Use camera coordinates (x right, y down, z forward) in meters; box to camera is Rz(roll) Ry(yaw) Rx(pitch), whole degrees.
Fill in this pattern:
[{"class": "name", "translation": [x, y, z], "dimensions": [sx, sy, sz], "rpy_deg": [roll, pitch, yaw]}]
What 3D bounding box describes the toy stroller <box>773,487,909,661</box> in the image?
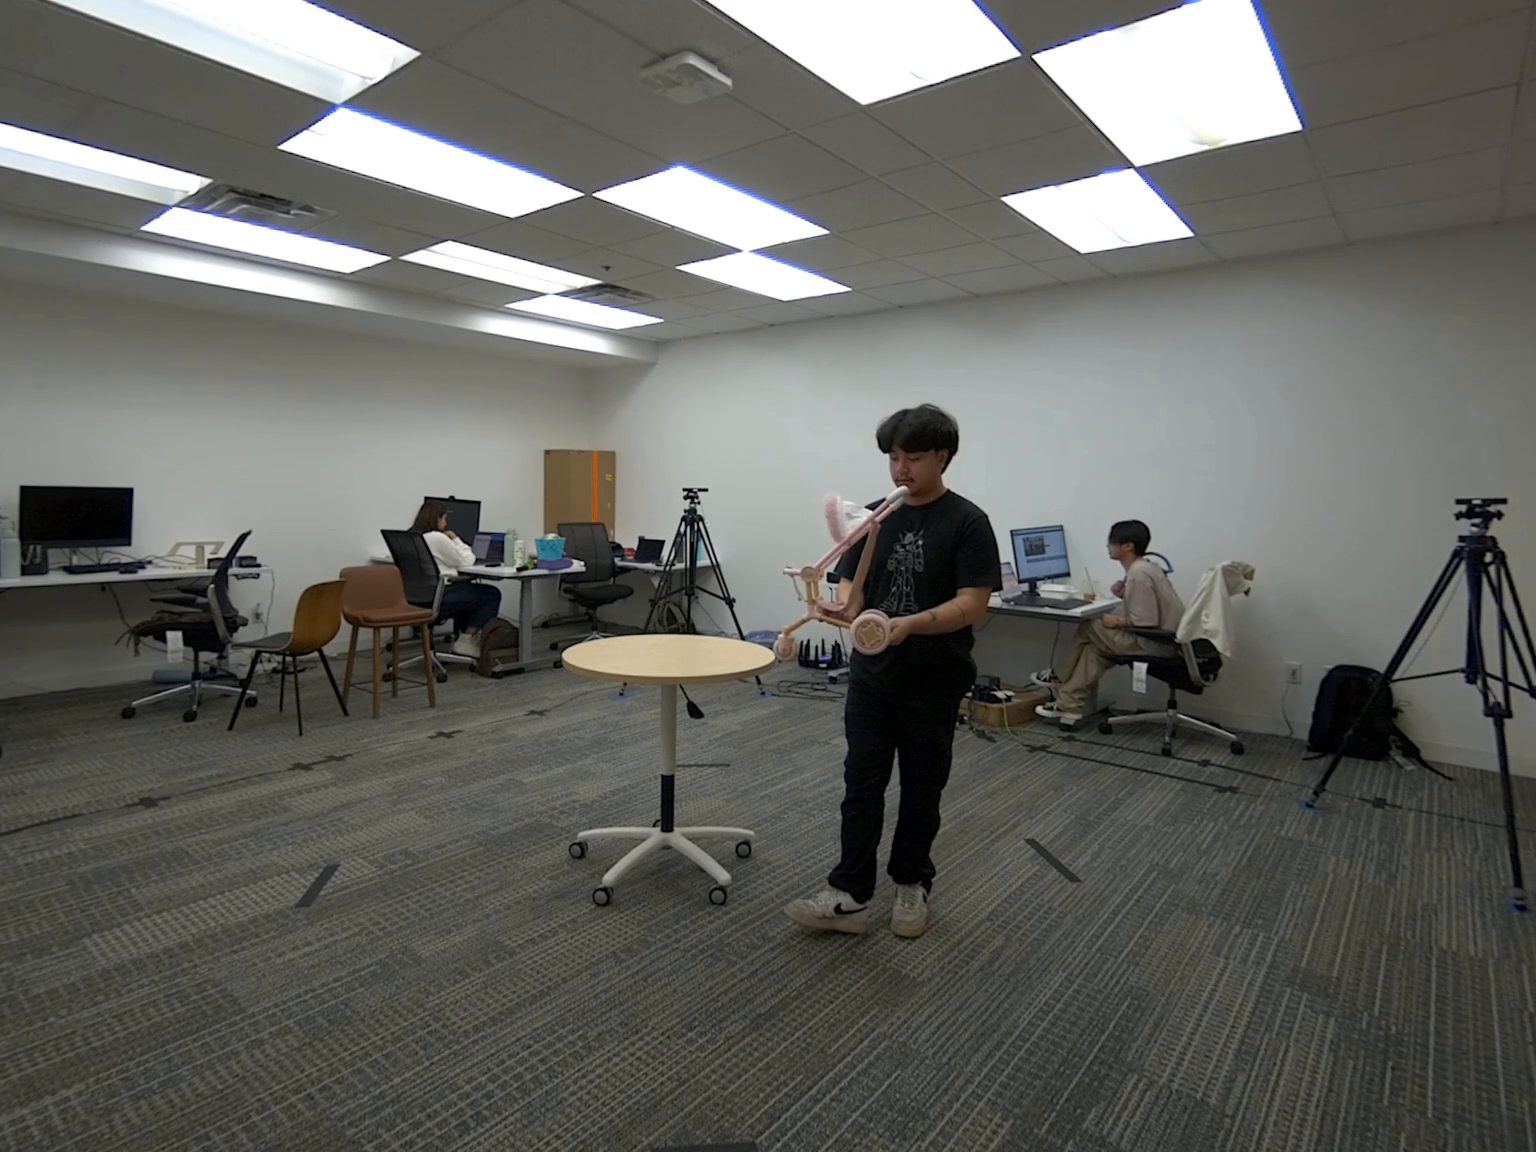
[{"class": "toy stroller", "translation": [0.189, -0.006, 2.452], "dimensions": [0.348, 0.535, 0.276], "rpy_deg": [6, 0, 15]}]
